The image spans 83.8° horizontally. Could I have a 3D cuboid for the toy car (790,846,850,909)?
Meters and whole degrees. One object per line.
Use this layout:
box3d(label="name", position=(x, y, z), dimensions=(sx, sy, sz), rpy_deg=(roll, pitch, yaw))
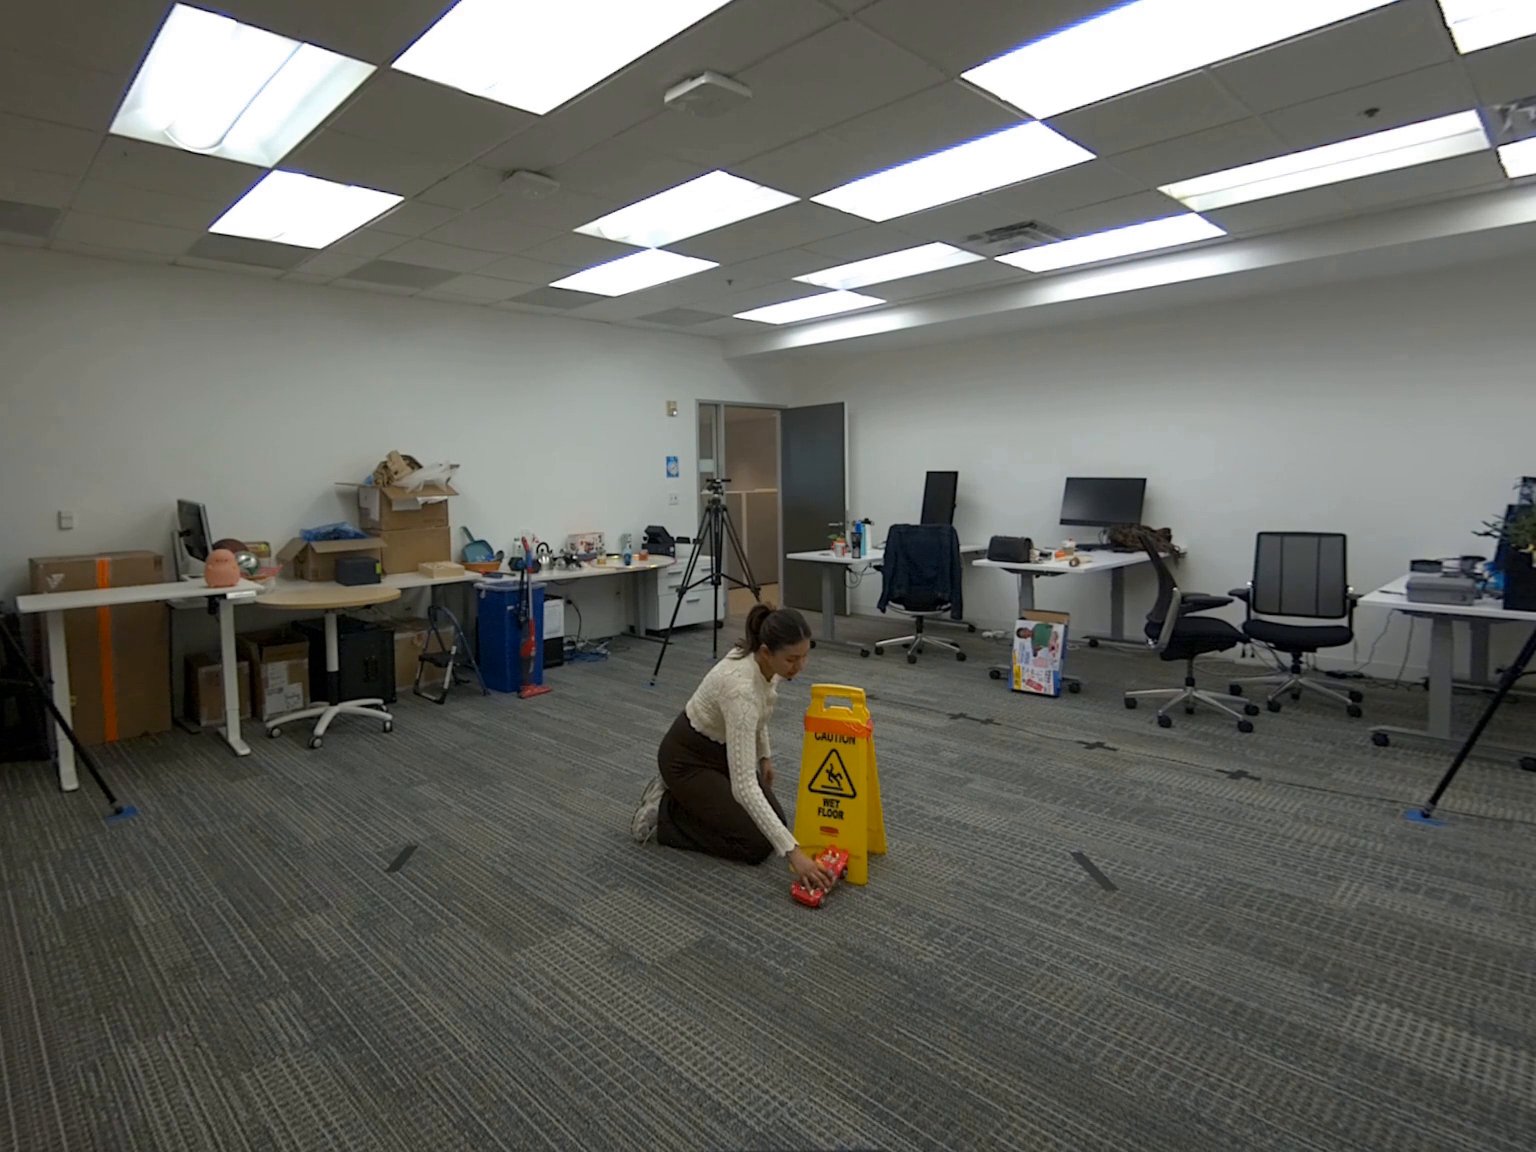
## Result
box3d(label="toy car", position=(0.177, 1.004, 2.872), dimensions=(0.134, 0.081, 0.254), rpy_deg=(10, 40, 35))
